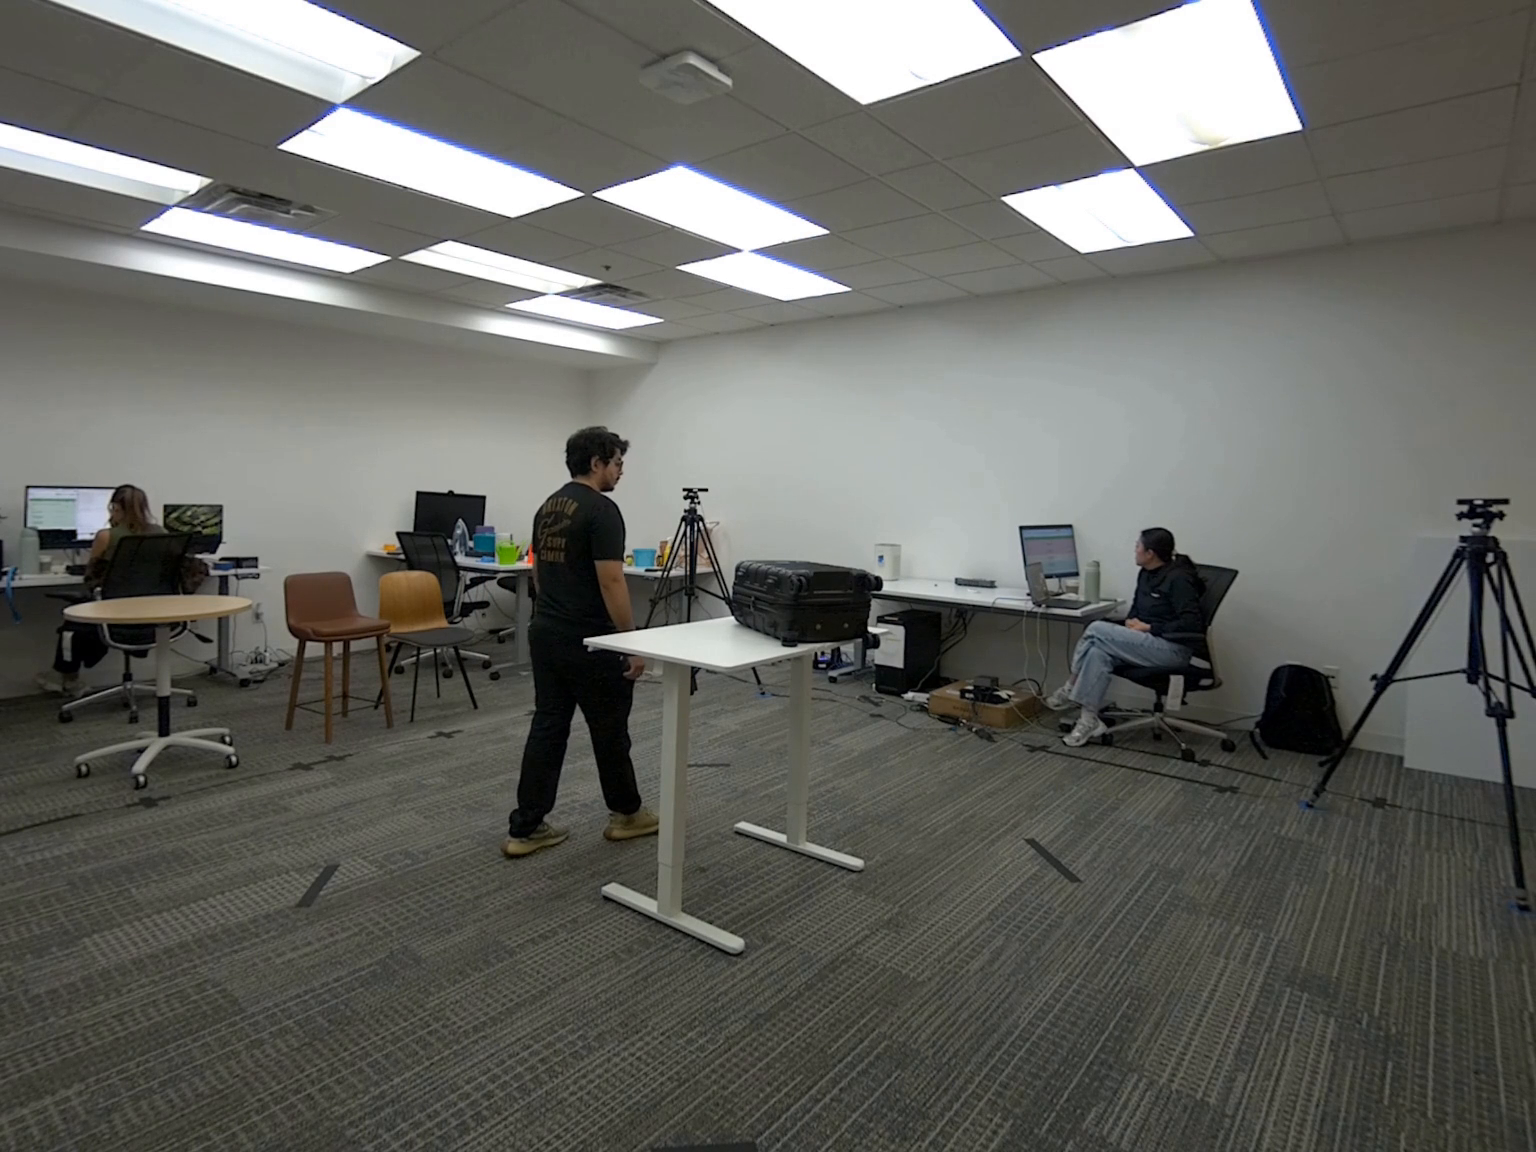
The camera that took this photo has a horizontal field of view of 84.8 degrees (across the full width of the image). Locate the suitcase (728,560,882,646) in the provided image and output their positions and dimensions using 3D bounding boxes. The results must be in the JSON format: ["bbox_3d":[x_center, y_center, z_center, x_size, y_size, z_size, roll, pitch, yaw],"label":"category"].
[{"bbox_3d":[0.103,0.084,3.063,0.367,0.247,0.564,-1,5,-25],"label":"suitcase"}]
